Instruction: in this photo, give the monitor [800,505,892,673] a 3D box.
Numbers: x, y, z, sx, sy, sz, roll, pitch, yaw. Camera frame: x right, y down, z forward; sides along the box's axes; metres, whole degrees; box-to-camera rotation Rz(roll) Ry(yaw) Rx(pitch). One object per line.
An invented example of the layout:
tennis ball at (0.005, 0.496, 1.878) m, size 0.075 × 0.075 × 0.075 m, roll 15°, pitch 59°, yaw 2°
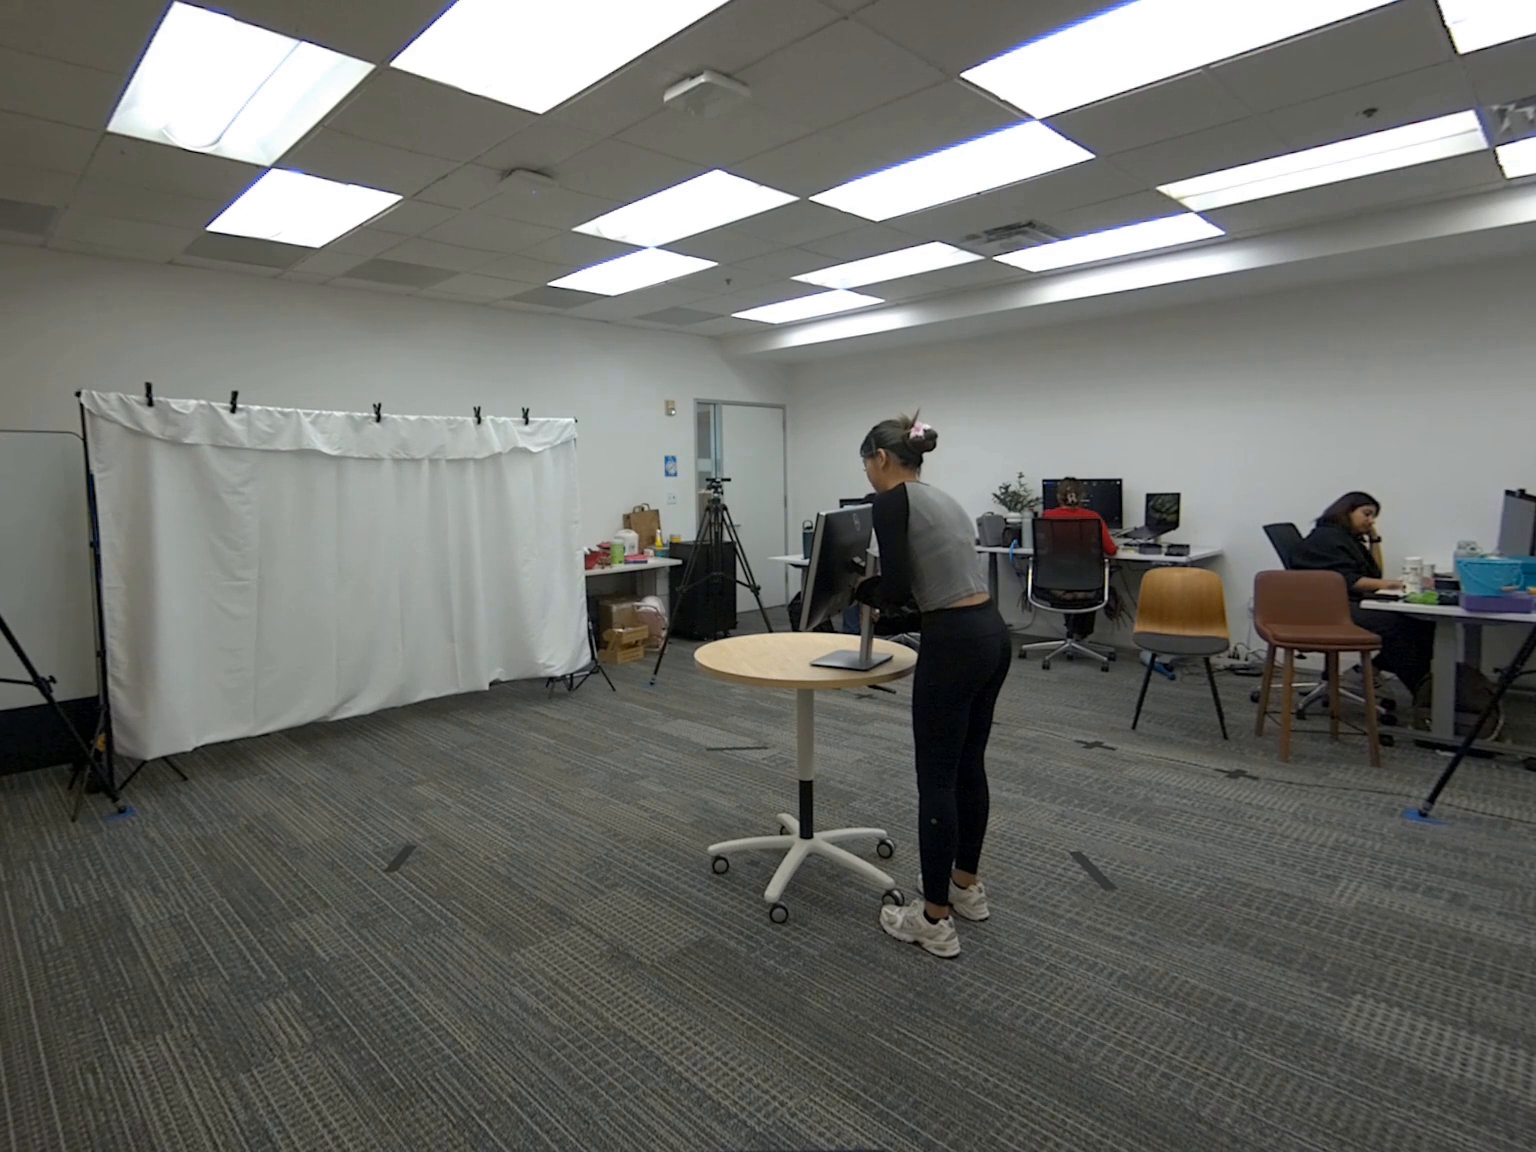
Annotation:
monitor at (0.278, 0.040, 2.785) m, size 0.191 × 0.521 × 0.530 m, roll -1°, pitch 5°, yaw 23°
